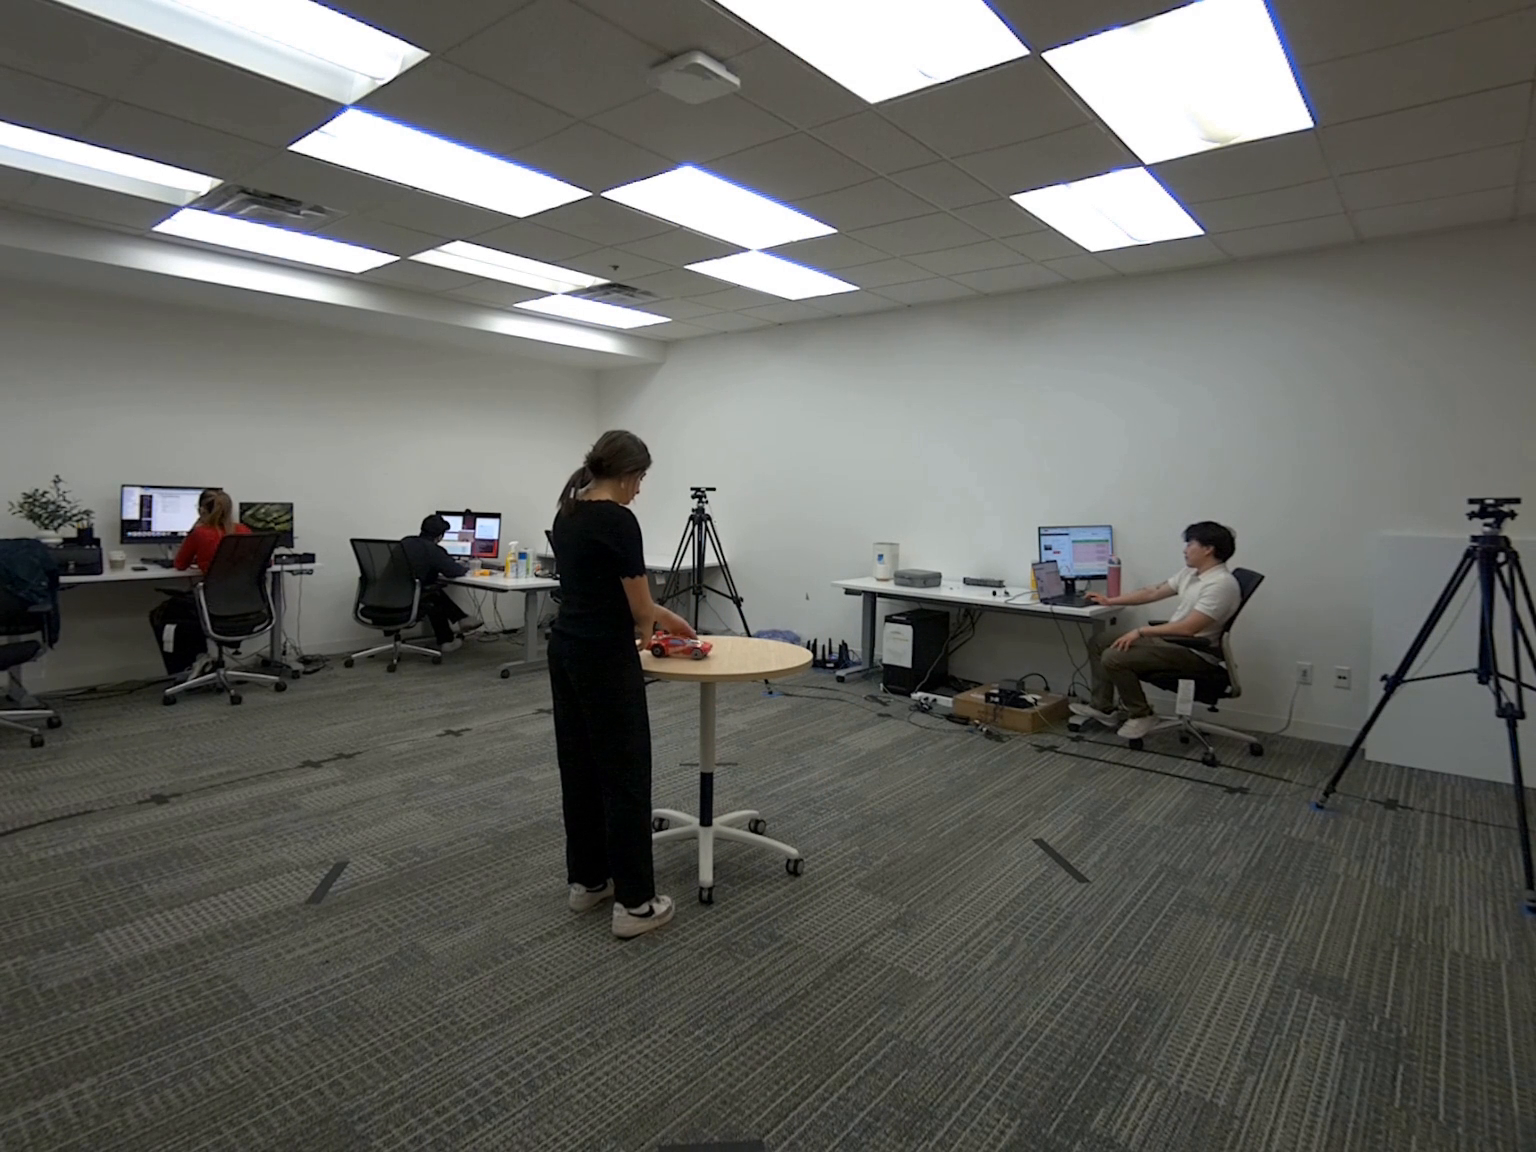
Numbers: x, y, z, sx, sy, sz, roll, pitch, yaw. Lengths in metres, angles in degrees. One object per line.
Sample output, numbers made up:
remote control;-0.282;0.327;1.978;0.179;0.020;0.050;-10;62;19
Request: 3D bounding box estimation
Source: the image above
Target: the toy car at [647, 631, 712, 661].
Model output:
toy car;-0.343;0.253;3.058;0.258;0.083;0.129;11;7;12
